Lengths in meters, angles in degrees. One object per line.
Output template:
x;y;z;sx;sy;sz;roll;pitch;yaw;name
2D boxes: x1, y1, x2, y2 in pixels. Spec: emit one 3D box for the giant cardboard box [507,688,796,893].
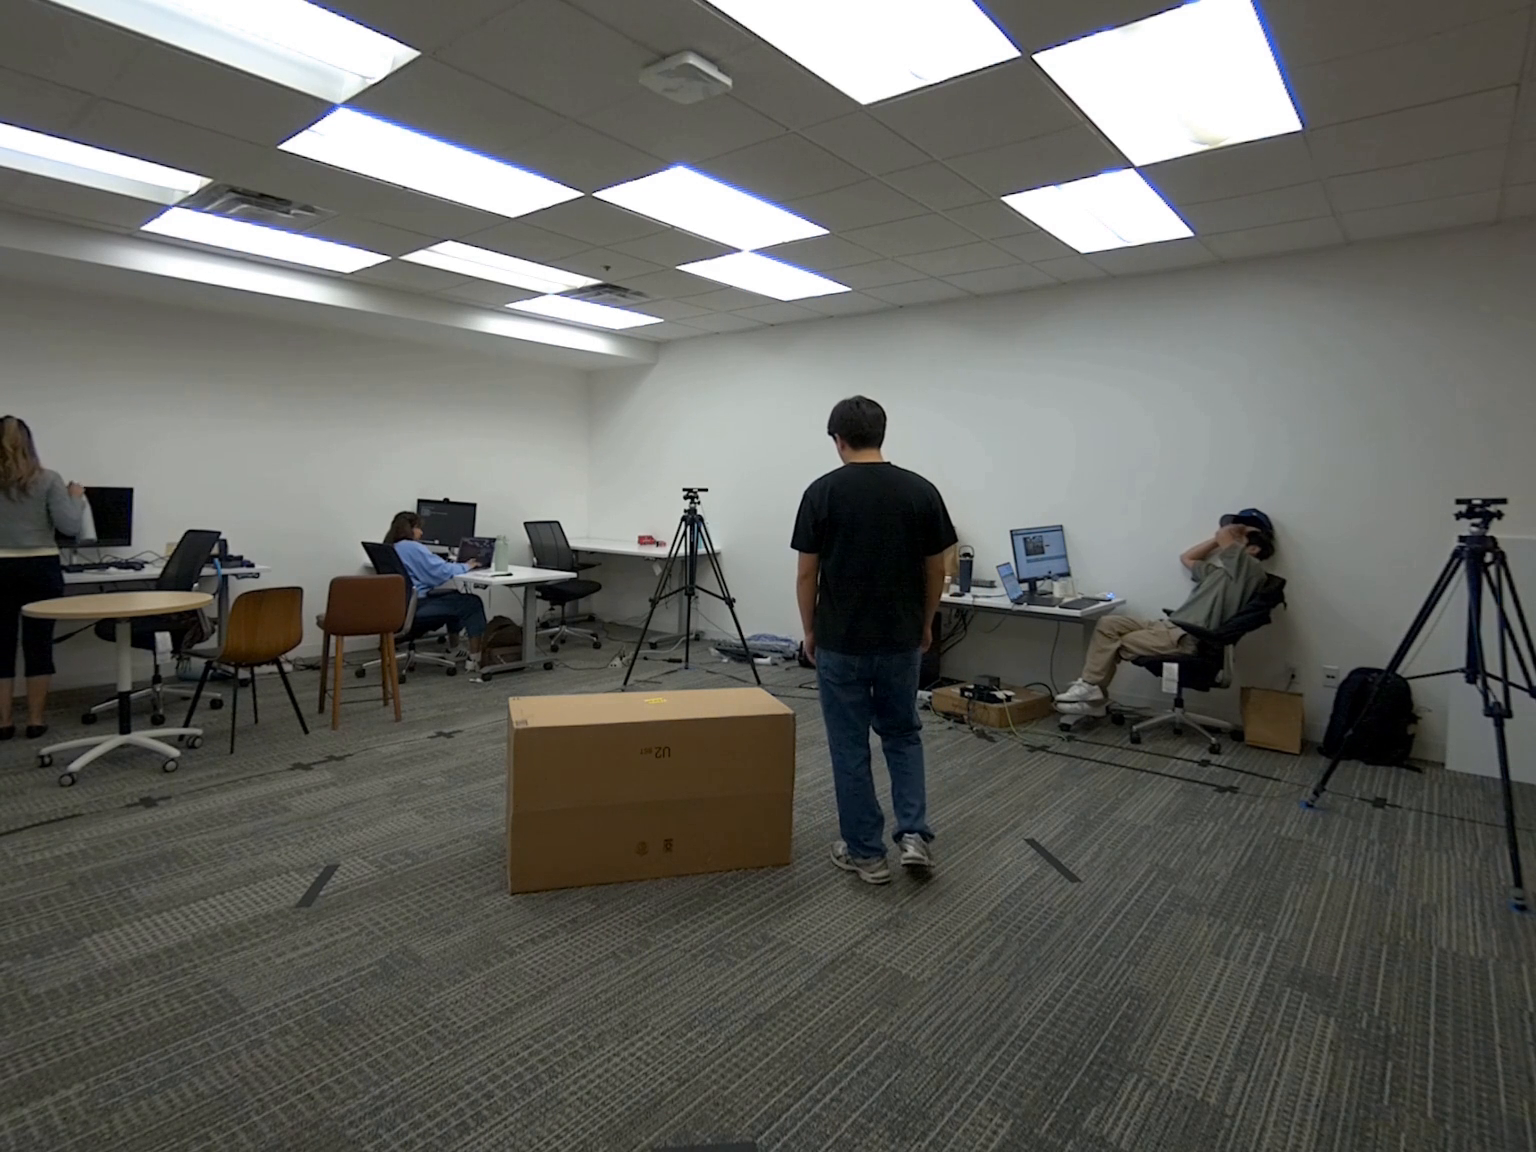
-0.466;0.767;3.217;1.009;0.583;0.456;0;3;-18;giant cardboard box
